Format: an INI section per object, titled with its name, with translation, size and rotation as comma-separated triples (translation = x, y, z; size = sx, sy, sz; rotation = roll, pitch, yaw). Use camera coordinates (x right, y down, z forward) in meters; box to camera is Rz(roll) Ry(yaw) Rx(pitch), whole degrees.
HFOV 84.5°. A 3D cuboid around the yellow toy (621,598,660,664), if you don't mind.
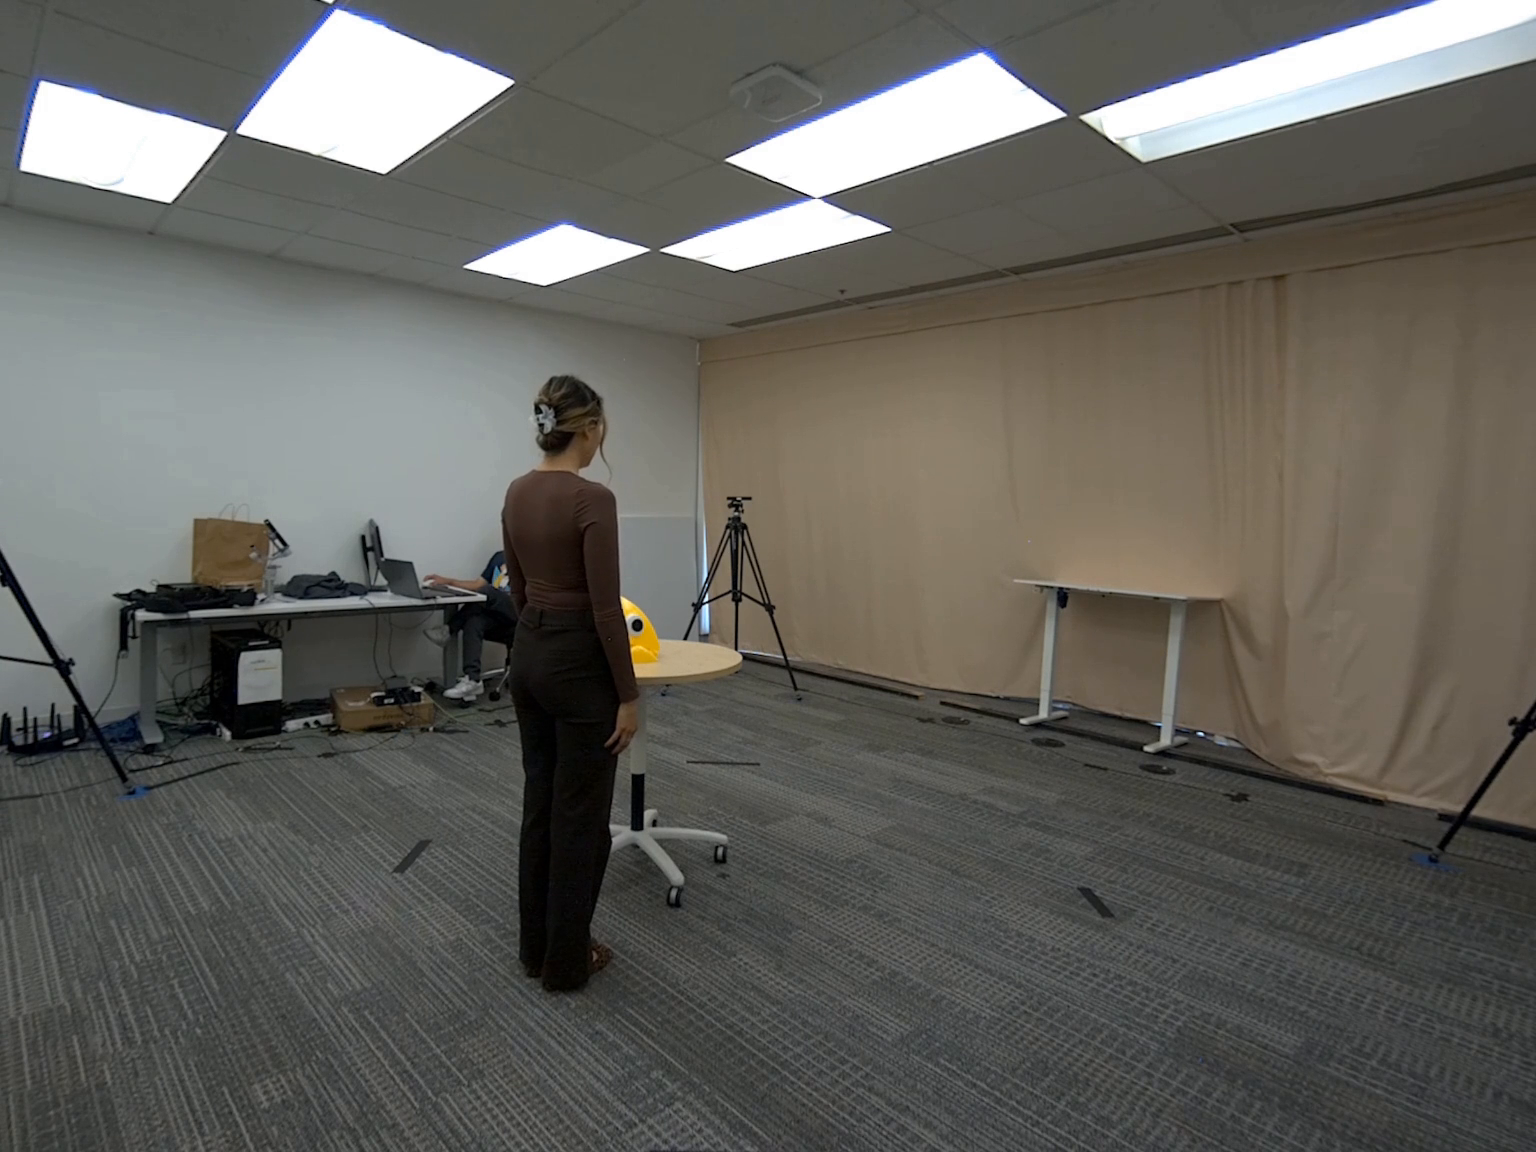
[yellow toy]
translation = -0.497, 0.188, 3.097
size = 0.192, 0.230, 0.206
rotation = 1, 2, -7
